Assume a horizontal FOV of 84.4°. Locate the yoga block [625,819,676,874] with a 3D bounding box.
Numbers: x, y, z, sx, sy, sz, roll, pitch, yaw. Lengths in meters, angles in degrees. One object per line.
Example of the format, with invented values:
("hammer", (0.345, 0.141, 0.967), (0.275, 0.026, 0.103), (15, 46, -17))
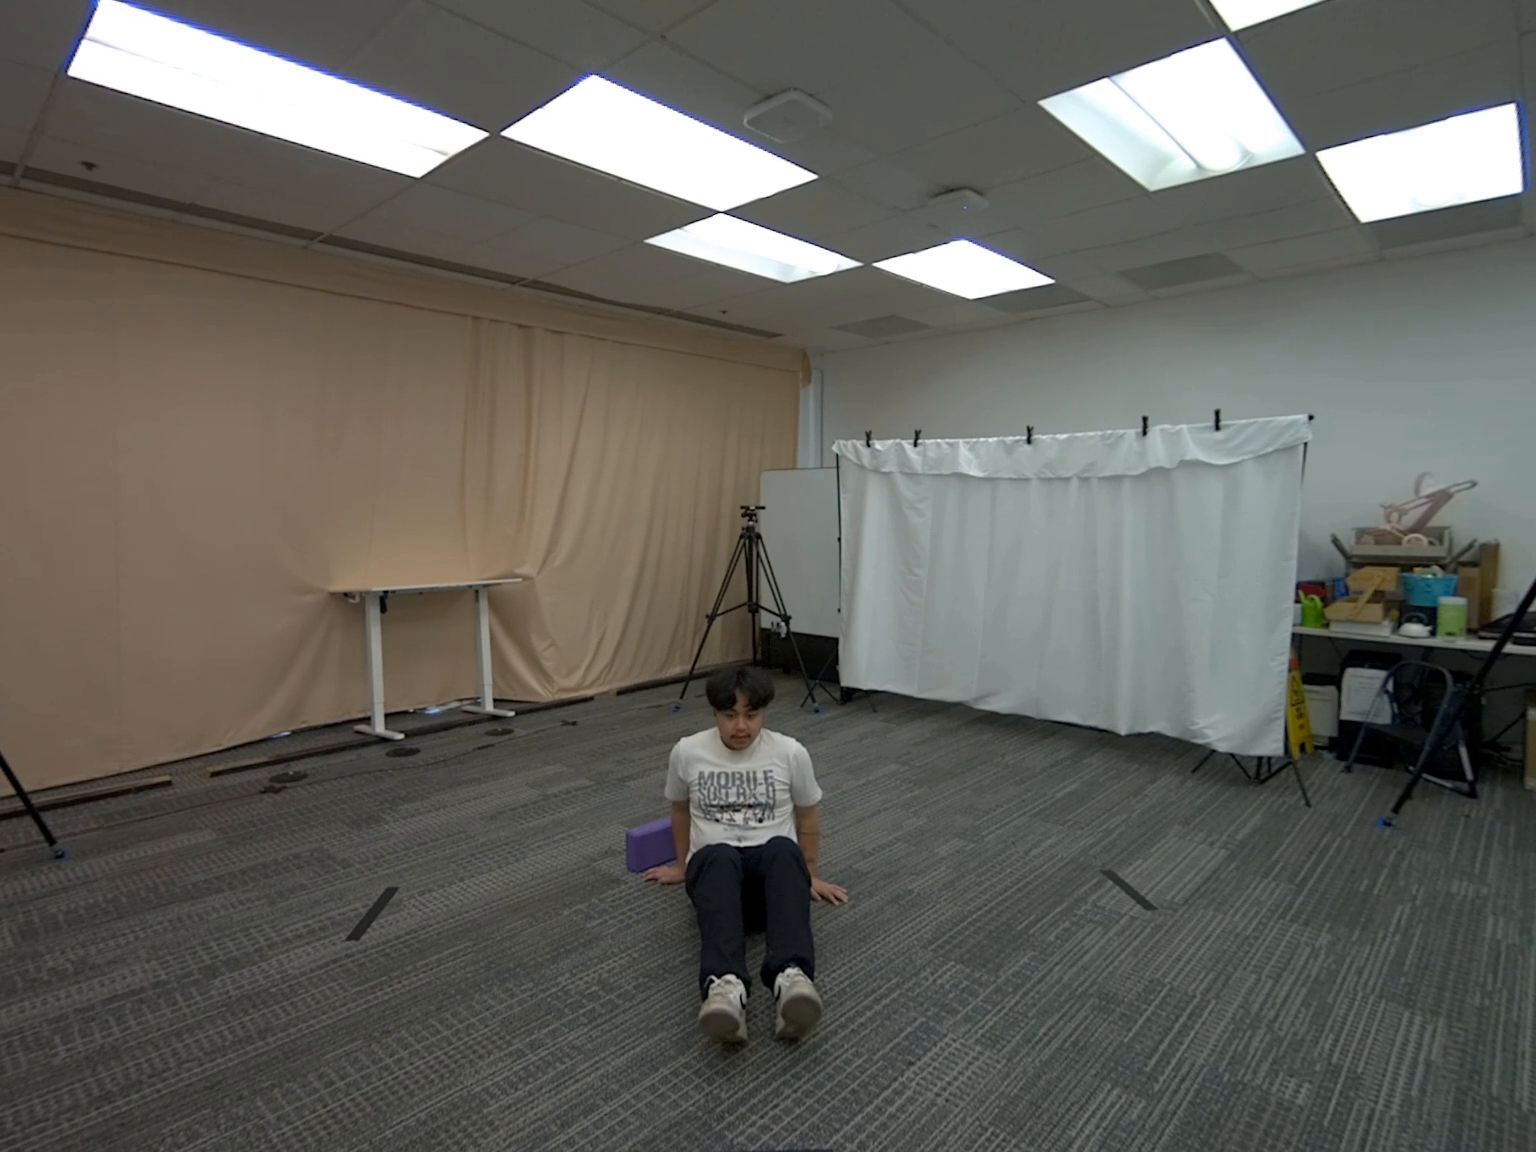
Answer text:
("yoga block", (-0.446, 1.045, 3.288), (0.223, 0.148, 0.079), (-5, 5, -37))
